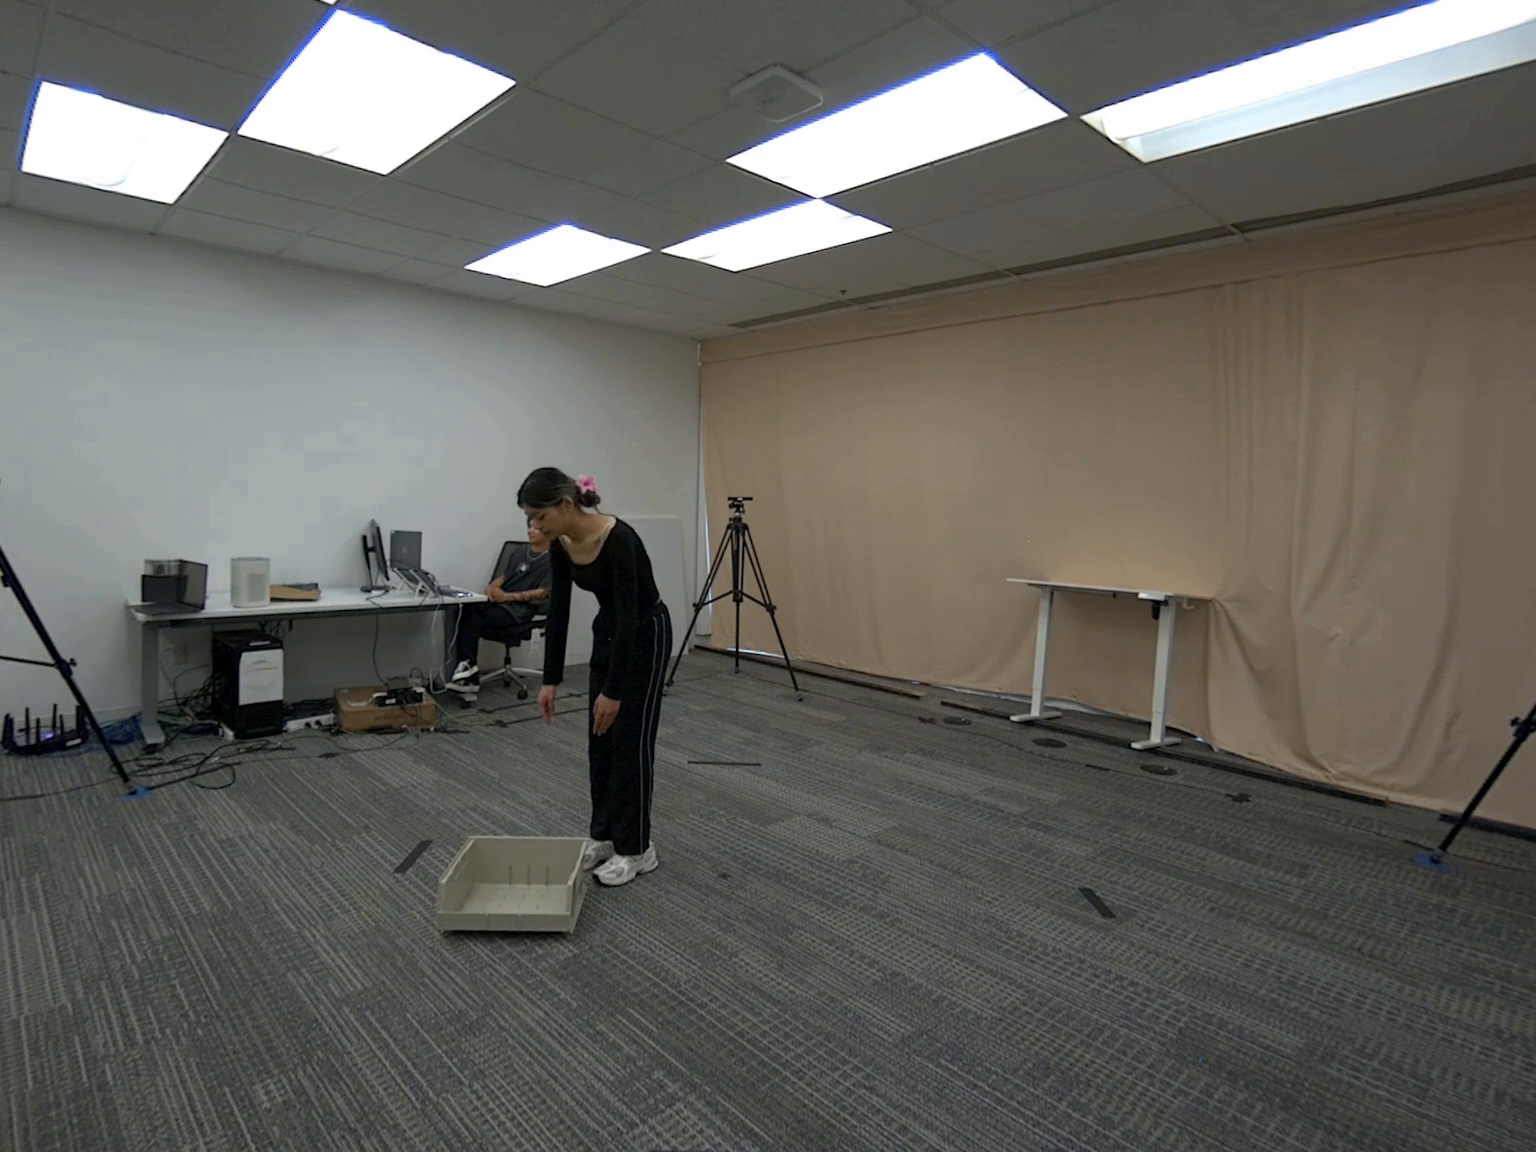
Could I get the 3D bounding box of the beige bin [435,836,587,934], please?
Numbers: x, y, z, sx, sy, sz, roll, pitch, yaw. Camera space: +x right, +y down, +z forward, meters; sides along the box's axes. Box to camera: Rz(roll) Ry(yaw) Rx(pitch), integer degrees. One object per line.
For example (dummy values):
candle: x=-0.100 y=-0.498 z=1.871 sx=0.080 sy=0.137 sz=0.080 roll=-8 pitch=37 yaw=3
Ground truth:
beige bin: x=-0.842 y=1.037 z=2.790 sx=0.421 sy=0.188 sz=0.379 roll=0 pitch=5 yaw=-3
